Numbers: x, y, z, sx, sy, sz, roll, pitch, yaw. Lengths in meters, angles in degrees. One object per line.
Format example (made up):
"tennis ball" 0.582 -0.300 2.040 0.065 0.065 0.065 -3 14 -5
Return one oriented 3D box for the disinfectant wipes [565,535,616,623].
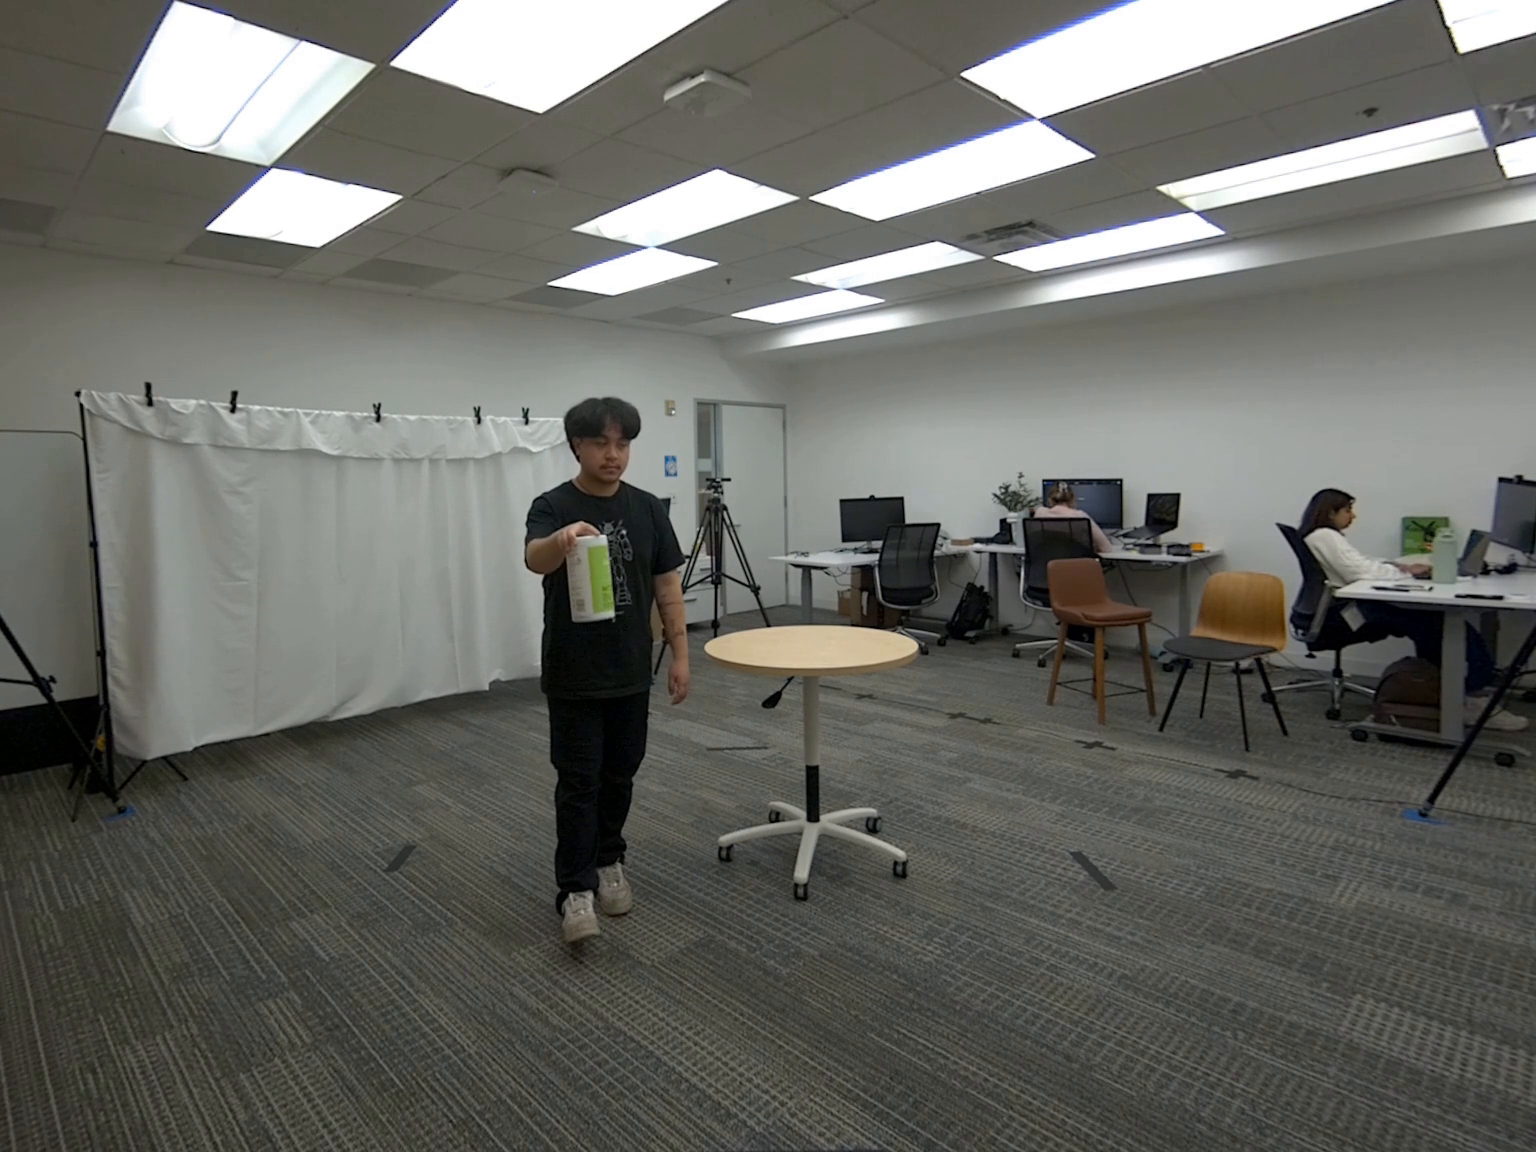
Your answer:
"disinfectant wipes" -0.465 0.008 2.192 0.118 0.217 0.118 -5 0 -2
